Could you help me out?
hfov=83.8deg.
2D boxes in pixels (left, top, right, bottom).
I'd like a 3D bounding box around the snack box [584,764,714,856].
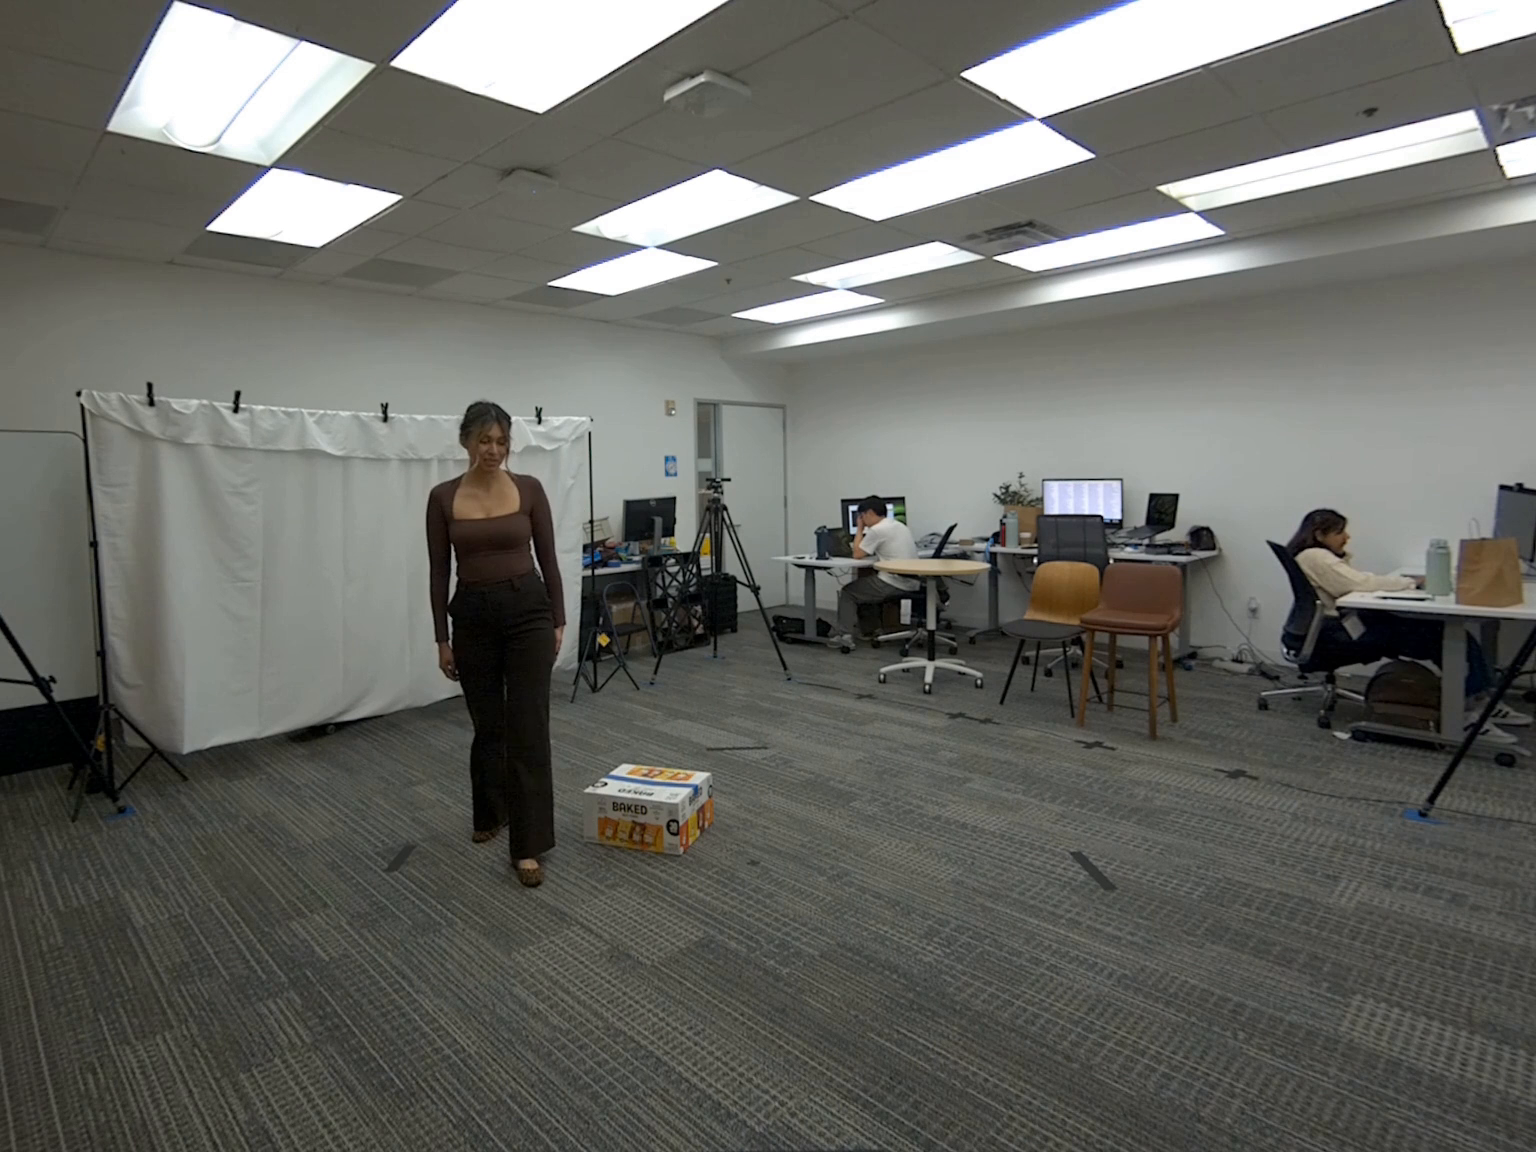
[{"bbox_3d":[-0.469,0.914,3.385,0.413,0.205,0.335,1,6,20],"label":"snack box"}]
